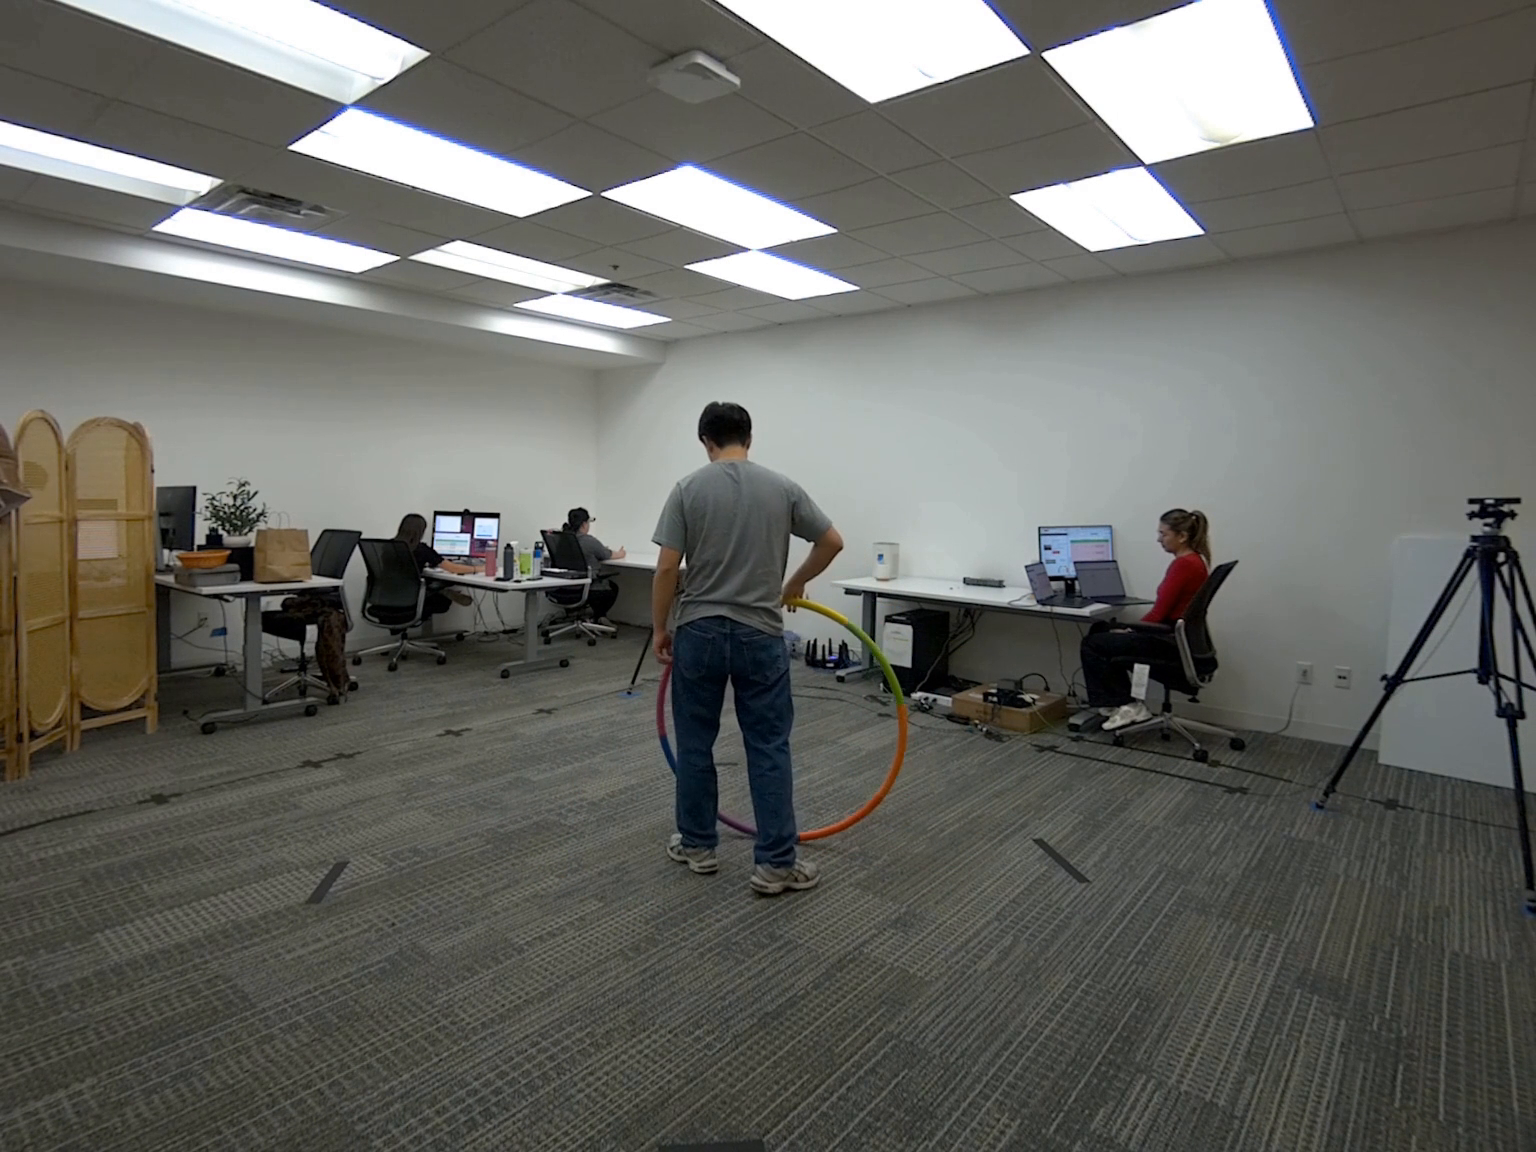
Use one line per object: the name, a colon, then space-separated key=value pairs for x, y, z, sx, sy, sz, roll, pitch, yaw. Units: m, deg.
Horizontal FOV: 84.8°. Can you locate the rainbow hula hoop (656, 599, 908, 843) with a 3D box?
rainbow hula hoop: x=0.030 y=0.559 z=3.323 sx=0.993 sy=0.974 sz=0.035 roll=2 pitch=5 yaw=14
